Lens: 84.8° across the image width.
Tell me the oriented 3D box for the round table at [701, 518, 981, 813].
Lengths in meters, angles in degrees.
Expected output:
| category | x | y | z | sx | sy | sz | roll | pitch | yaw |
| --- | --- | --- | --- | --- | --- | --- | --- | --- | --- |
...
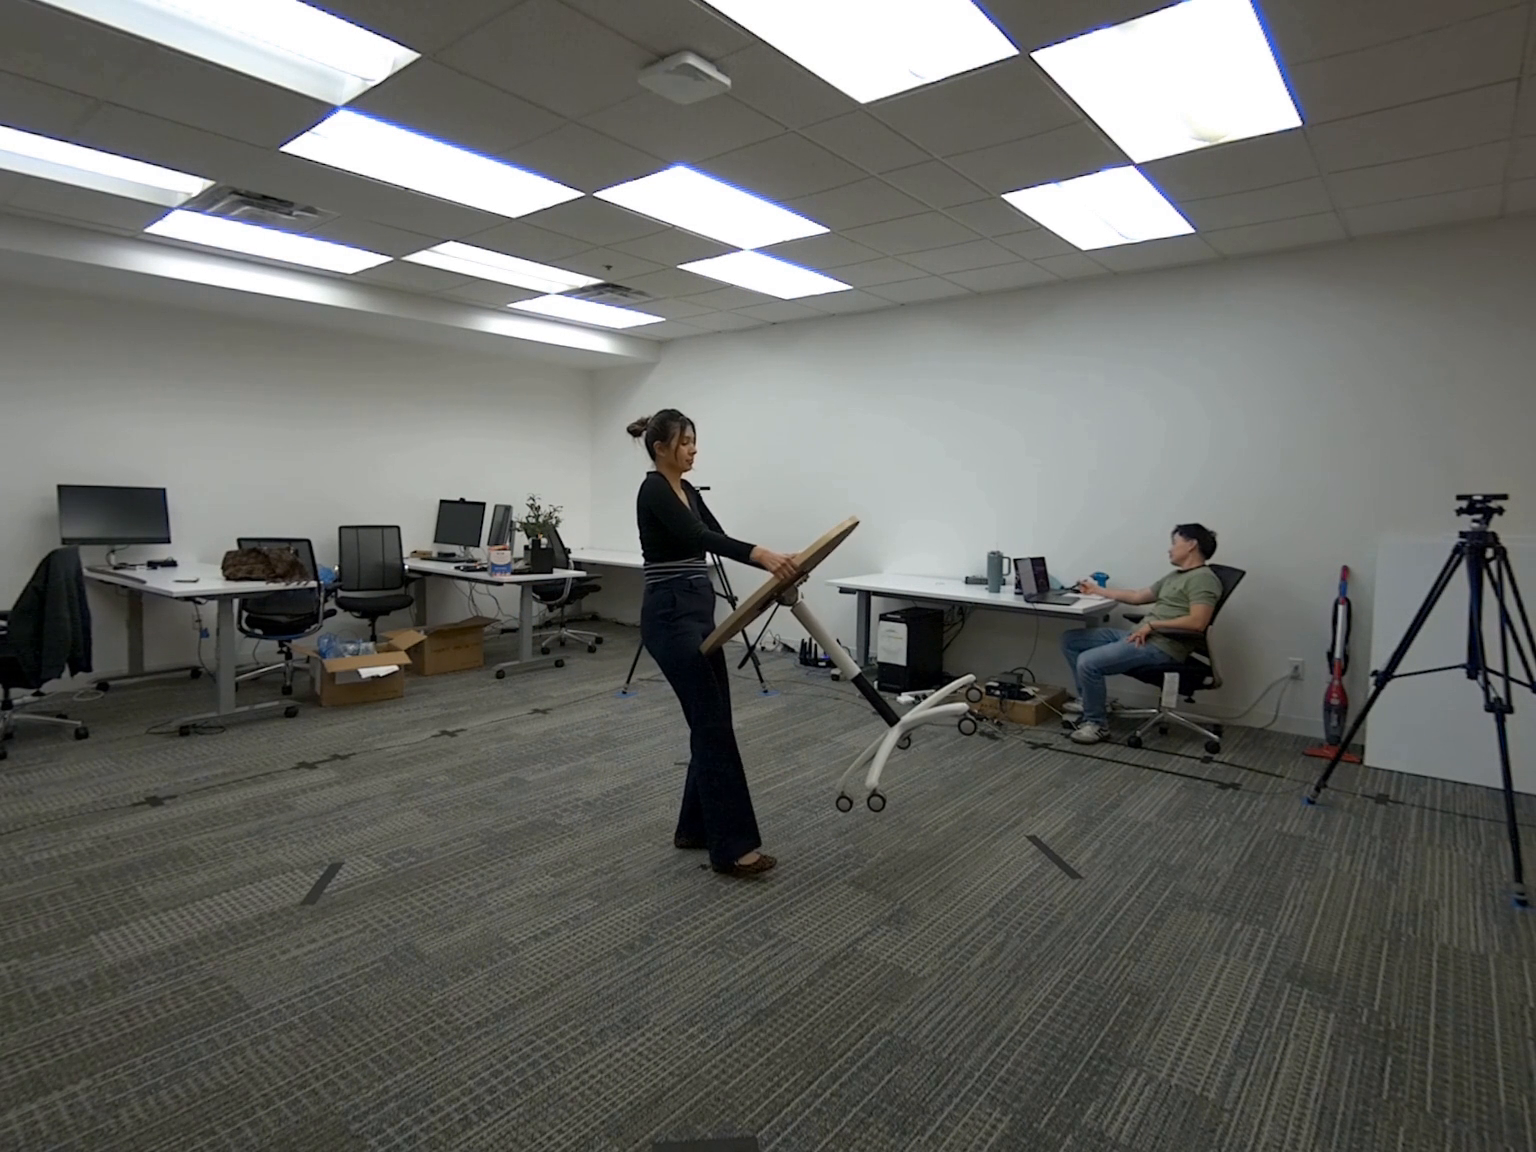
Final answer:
| category | x | y | z | sx | sy | sz | roll | pitch | yaw |
| --- | --- | --- | --- | --- | --- | --- | --- | --- | --- |
| round table | 0.287 | 0.337 | 3.106 | 0.762 | 0.804 | 0.757 | -39 | -7 | -8 |
